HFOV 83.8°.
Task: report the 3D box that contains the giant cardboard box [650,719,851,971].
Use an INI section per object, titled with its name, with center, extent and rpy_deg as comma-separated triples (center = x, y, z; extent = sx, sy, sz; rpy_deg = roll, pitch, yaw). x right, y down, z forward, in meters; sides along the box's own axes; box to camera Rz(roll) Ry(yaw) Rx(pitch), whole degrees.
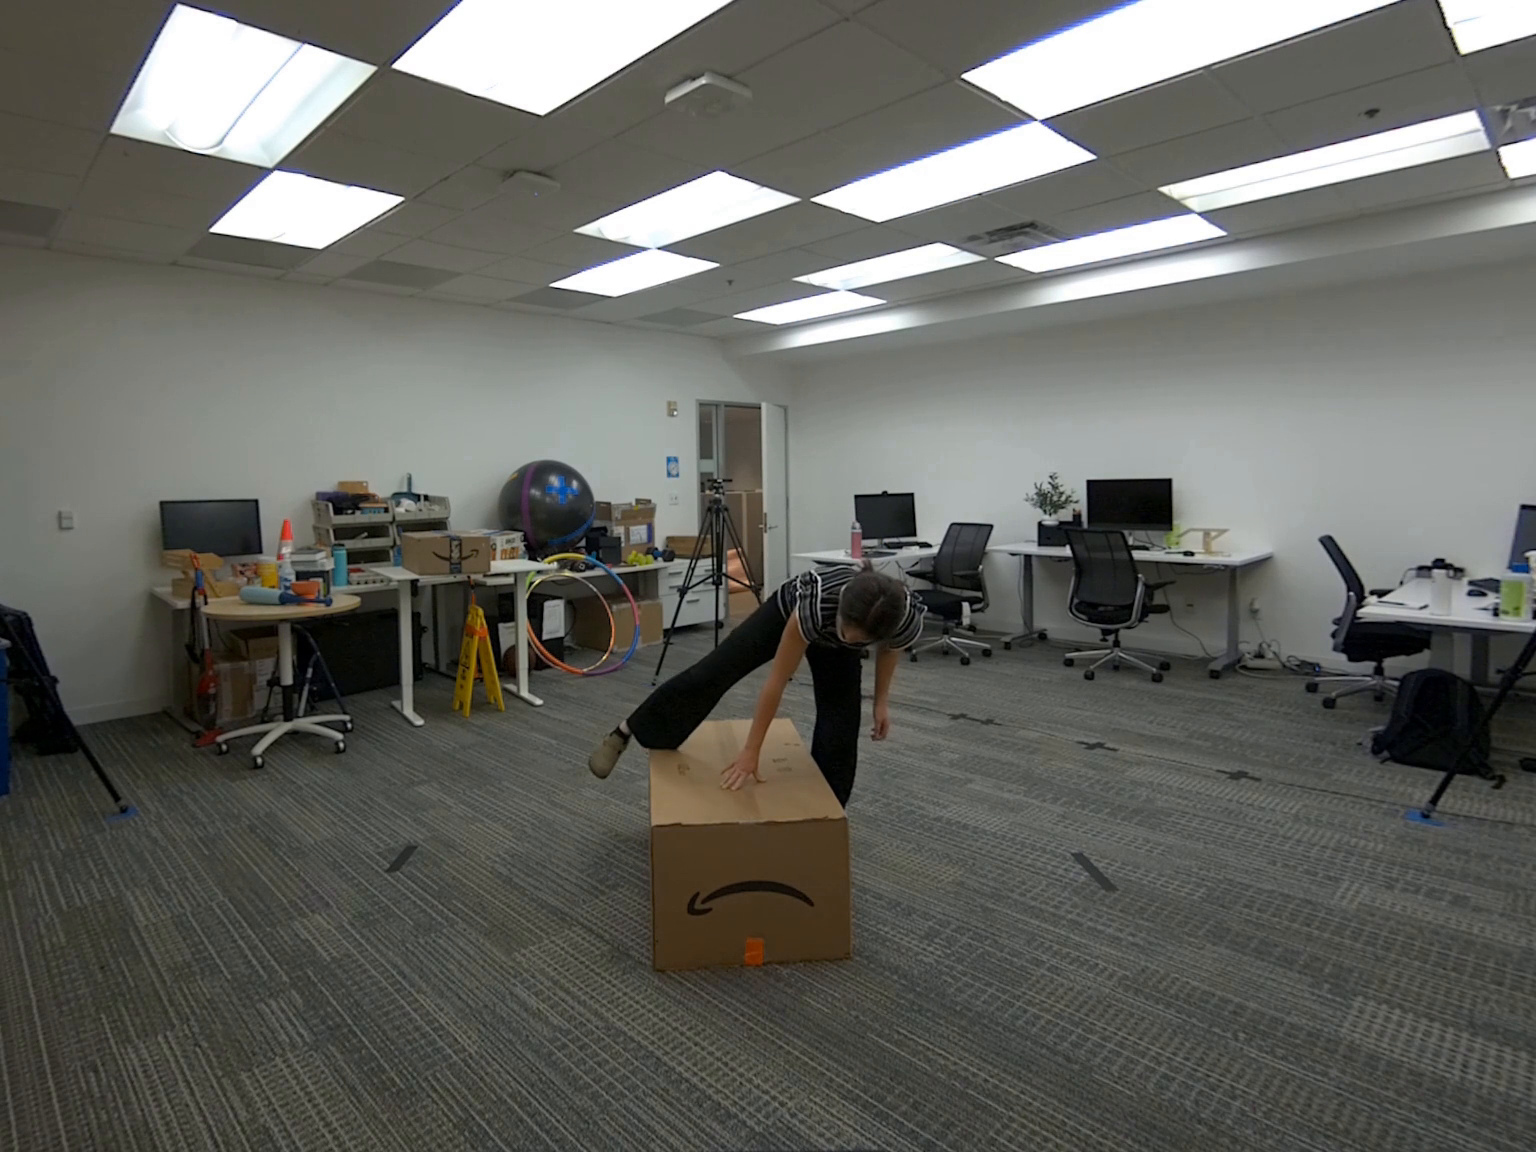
[giant cardboard box]
center = -0.116, 0.854, 2.948
extent = 0.574, 0.424, 1.037
rpy_deg = -2, 6, -7
